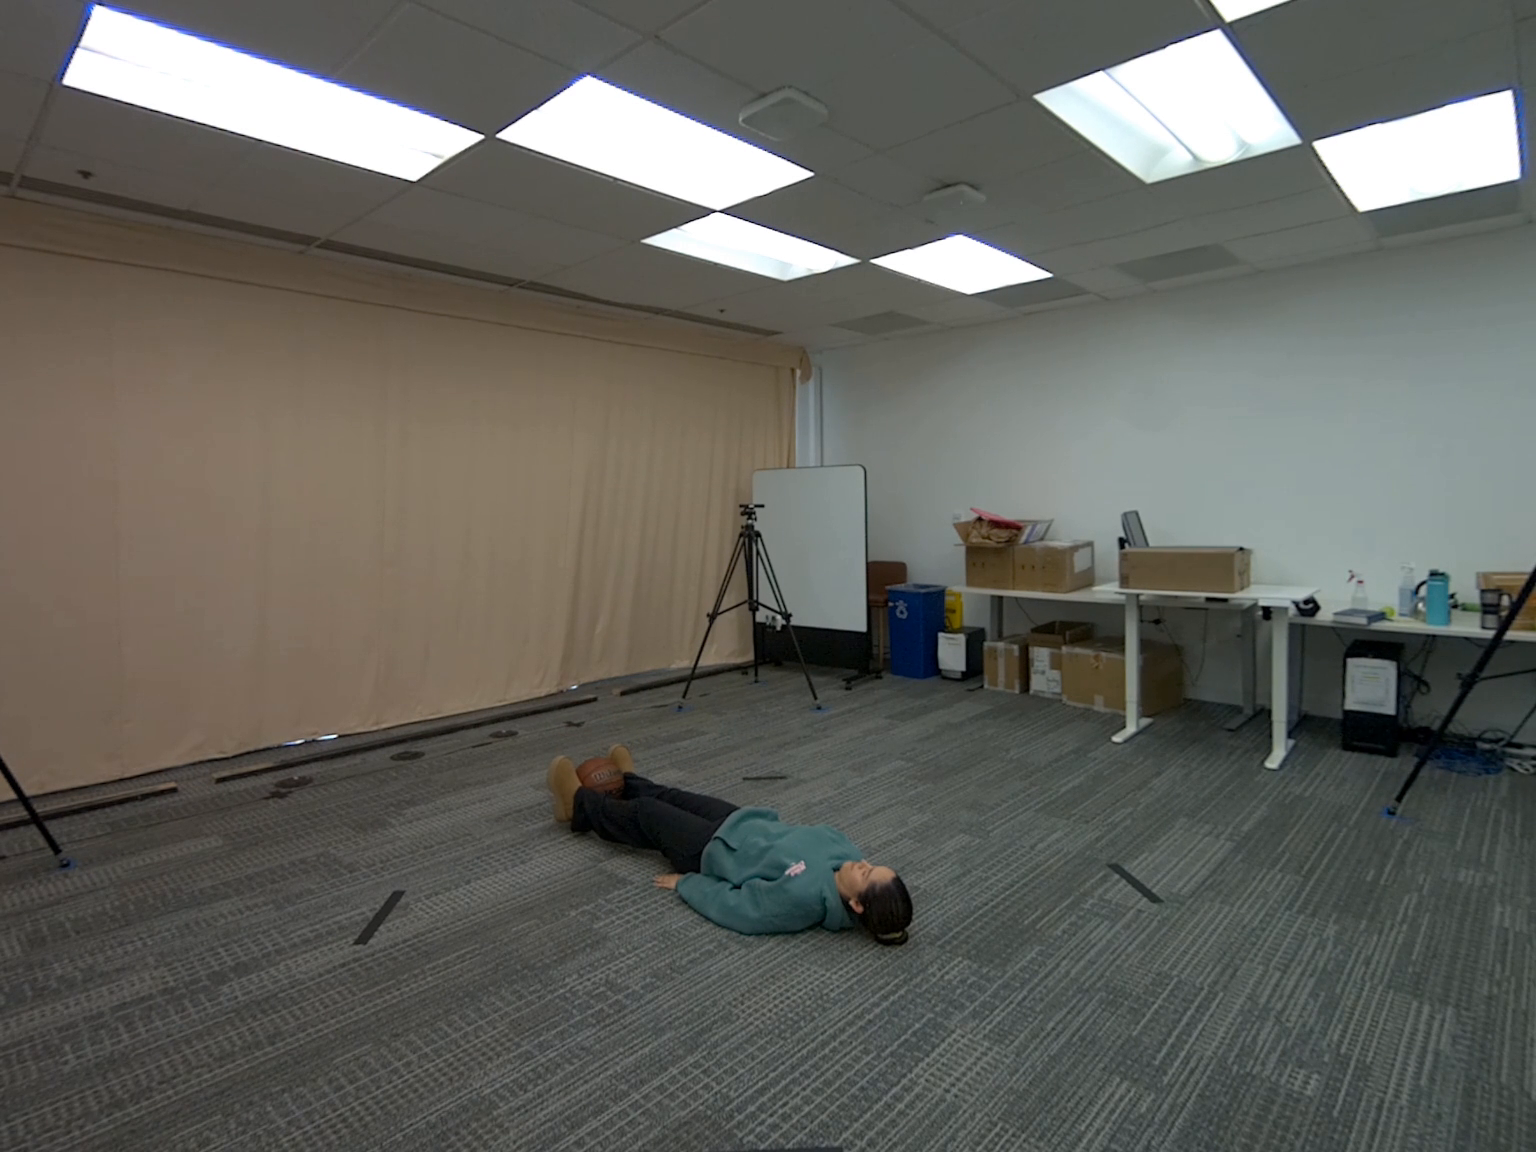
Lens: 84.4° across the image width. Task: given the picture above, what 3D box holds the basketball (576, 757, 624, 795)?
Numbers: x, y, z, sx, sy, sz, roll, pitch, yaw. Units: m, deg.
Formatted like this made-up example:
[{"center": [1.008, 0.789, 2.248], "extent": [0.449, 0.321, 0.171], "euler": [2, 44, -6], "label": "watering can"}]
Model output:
[{"center": [-0.757, 0.927, 3.745], "extent": [0.236, 0.235, 0.237], "euler": [0, 4, -2], "label": "basketball"}]
